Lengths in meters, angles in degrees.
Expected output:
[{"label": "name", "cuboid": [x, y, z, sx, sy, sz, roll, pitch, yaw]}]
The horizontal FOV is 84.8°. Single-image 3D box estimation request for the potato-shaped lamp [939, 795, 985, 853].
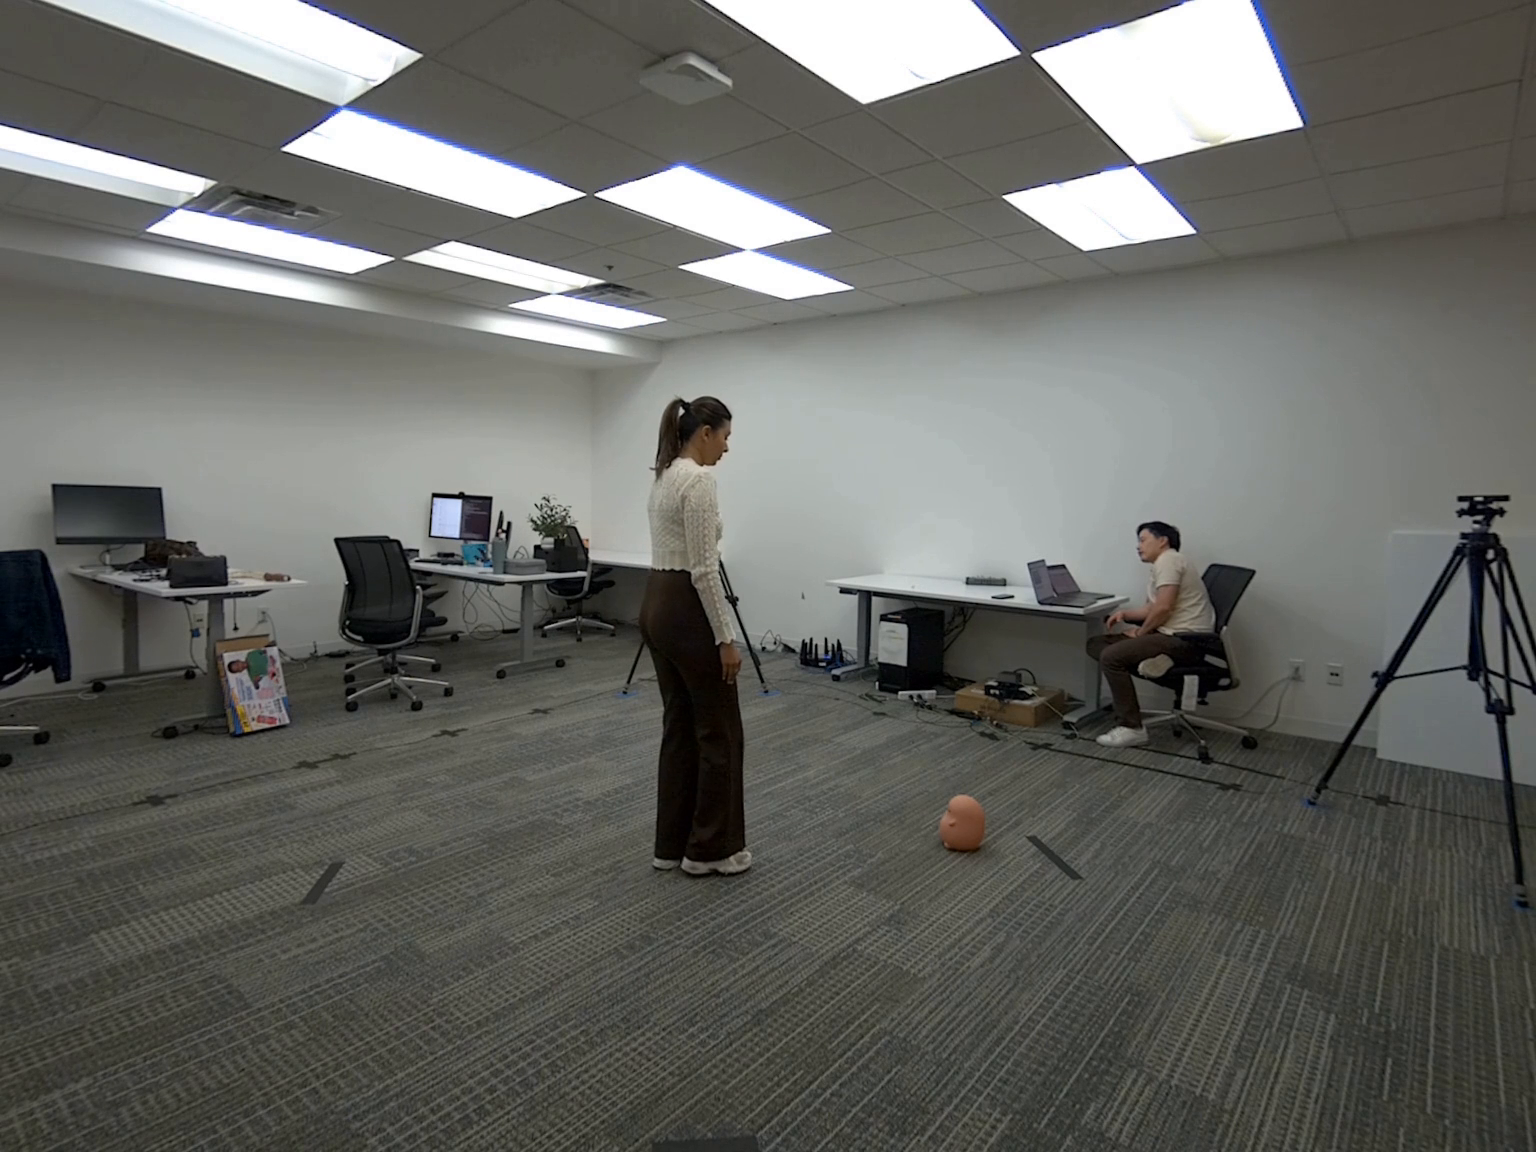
[{"label": "potato-shaped lamp", "cuboid": [0.757, 0.963, 3.351, 0.173, 0.197, 0.164, 3, 4, 5]}]
